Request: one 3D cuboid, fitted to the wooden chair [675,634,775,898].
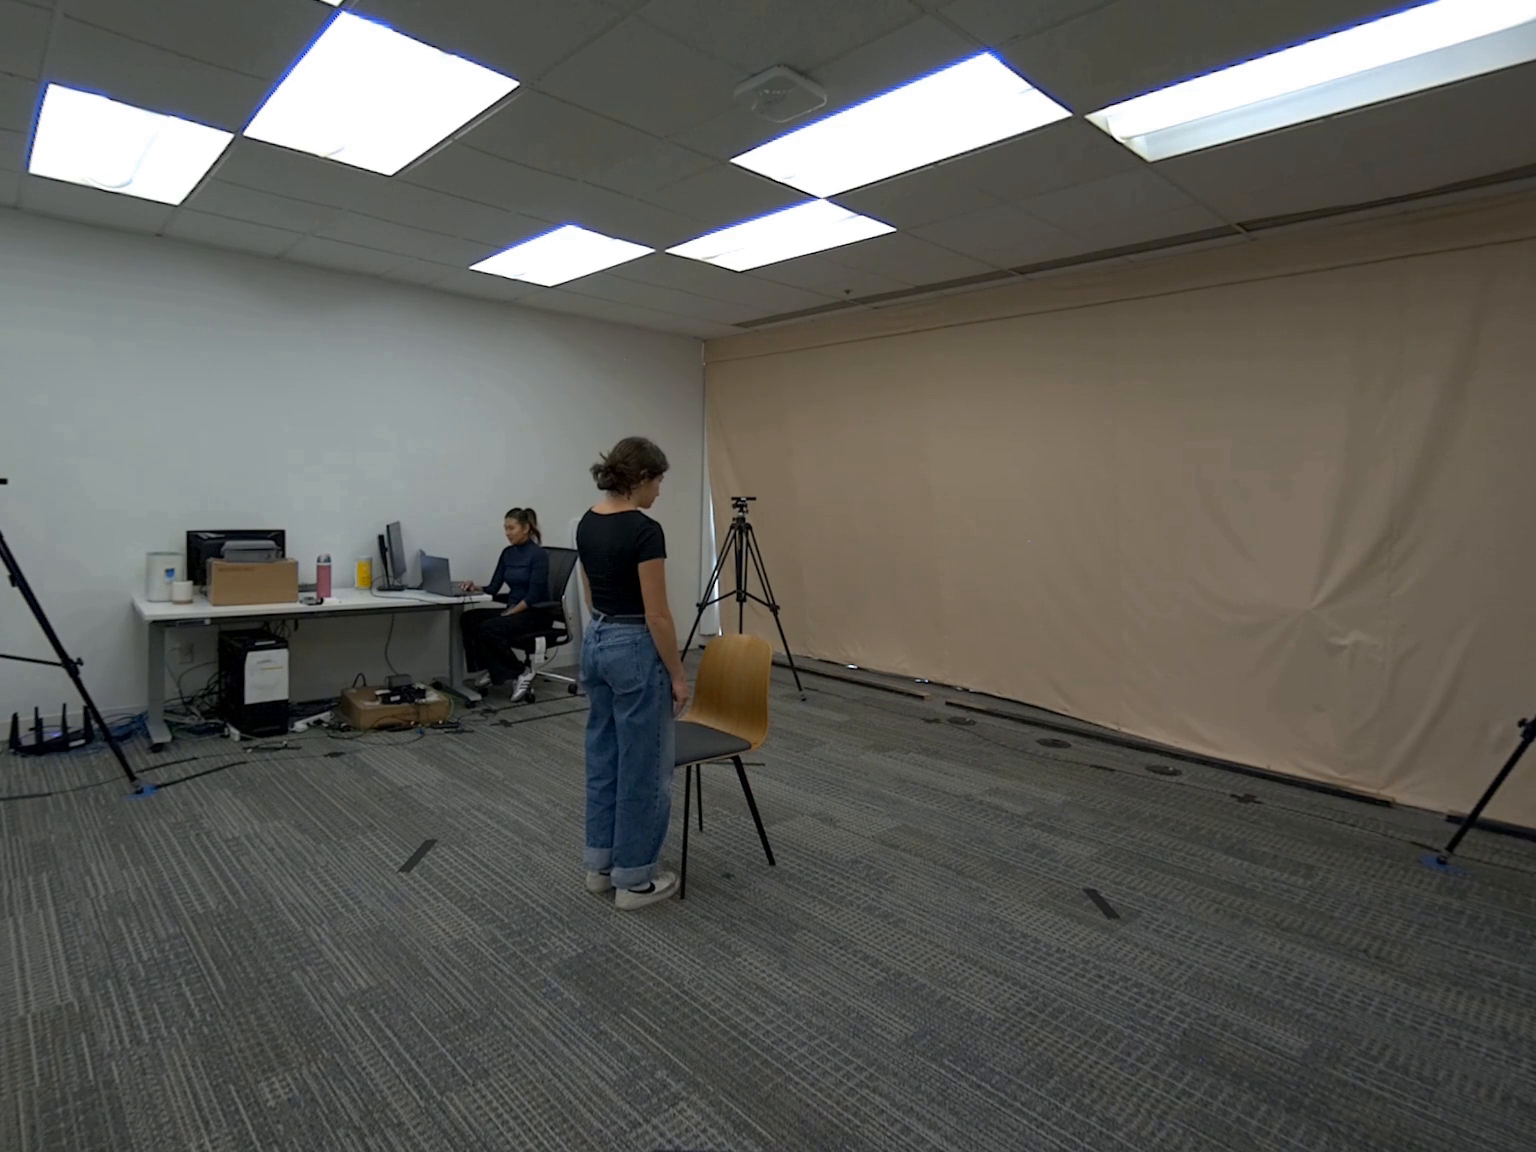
[{"bbox_3d":[-0.287,0.672,3.192,0.510,0.877,0.490,3,1,-43],"label":"wooden chair"}]
